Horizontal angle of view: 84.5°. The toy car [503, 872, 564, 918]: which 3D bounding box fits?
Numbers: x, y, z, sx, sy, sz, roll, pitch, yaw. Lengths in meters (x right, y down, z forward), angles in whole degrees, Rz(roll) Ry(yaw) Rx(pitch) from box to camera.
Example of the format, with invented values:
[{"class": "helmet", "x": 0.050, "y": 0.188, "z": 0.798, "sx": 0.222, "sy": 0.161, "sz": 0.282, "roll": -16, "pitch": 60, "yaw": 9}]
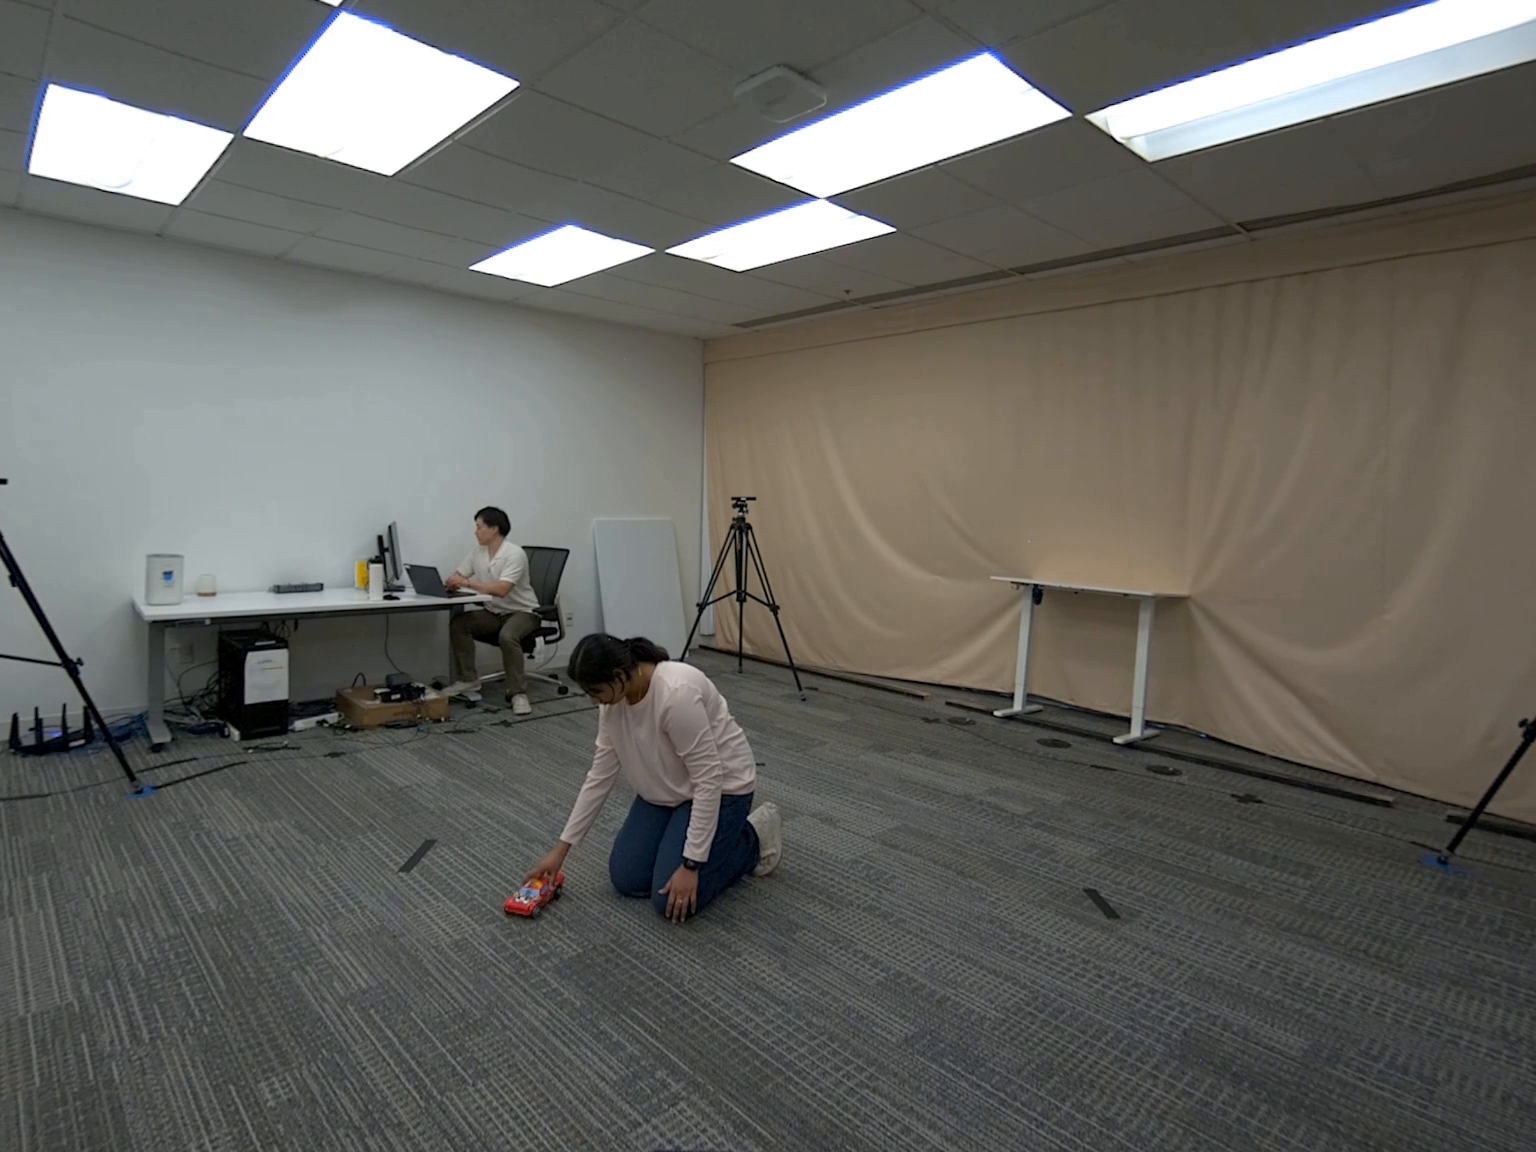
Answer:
[{"class": "toy car", "x": -0.787, "y": 1.075, "z": 2.871, "sx": 0.132, "sy": 0.082, "sz": 0.253, "roll": 3, "pitch": 15, "yaw": 17}]
